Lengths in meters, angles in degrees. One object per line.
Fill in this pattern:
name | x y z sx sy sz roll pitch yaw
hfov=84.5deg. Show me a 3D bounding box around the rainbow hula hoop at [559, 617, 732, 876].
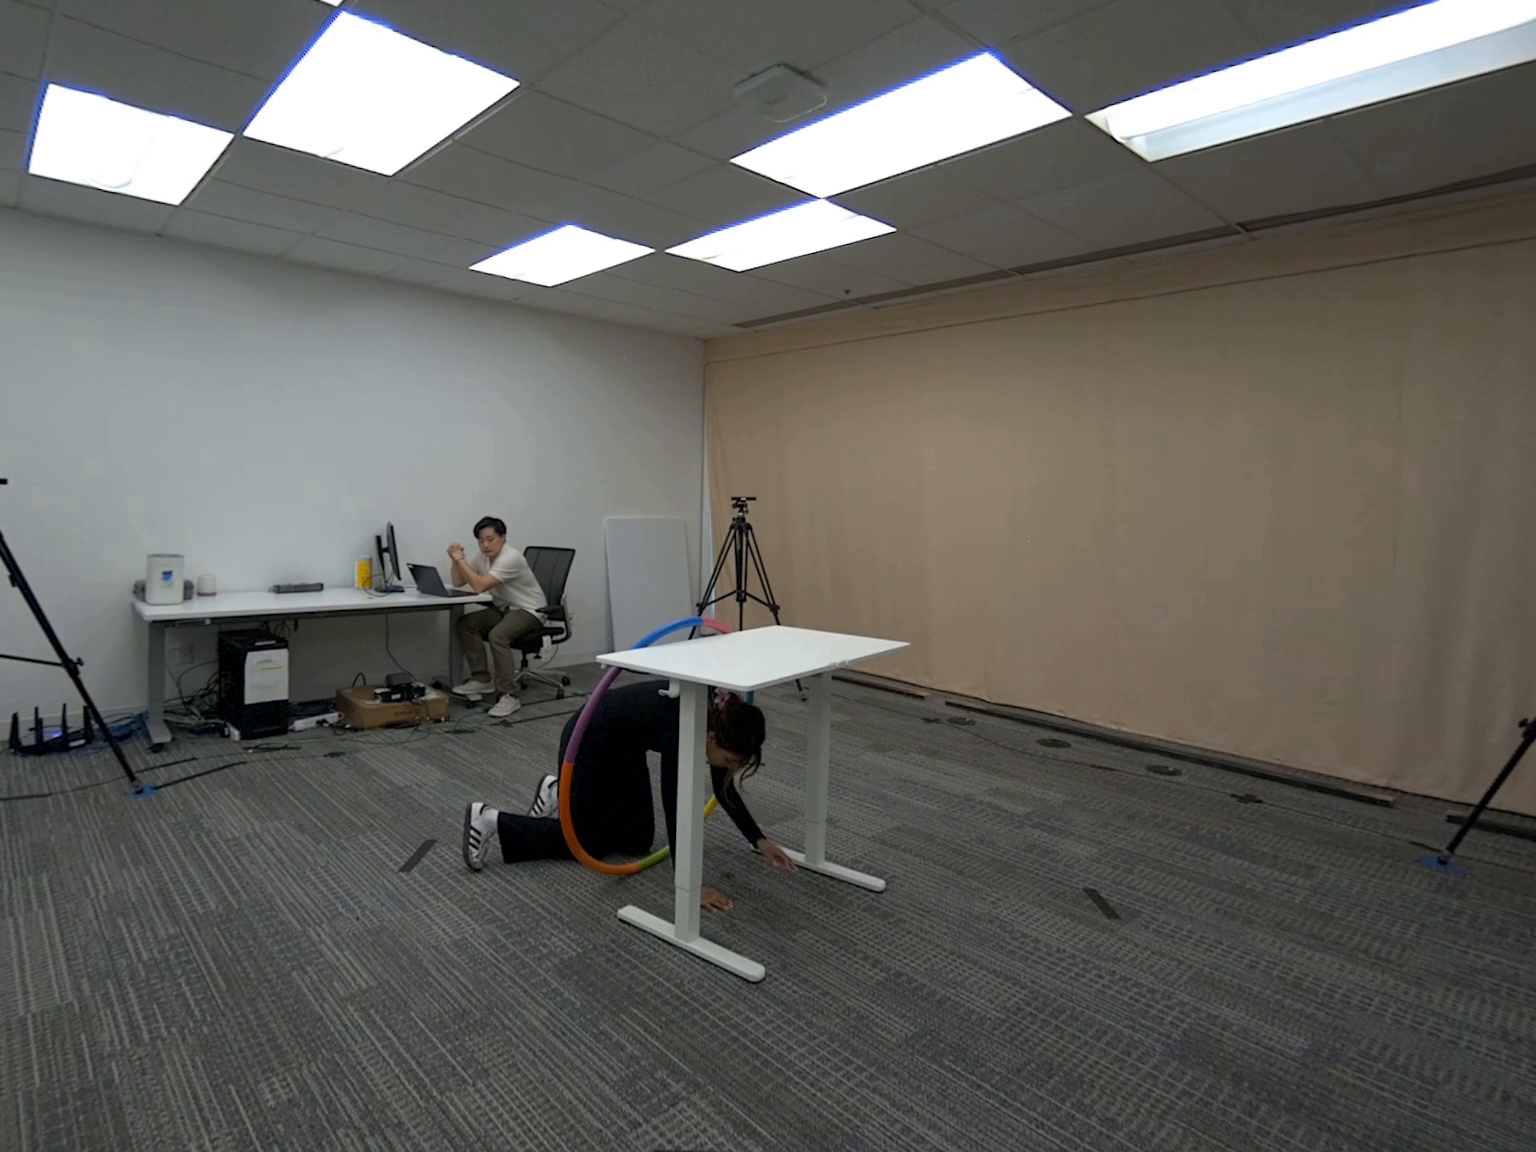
rainbow hula hoop | -0.369 0.618 3.086 0.036 0.972 0.957 19 14 35
